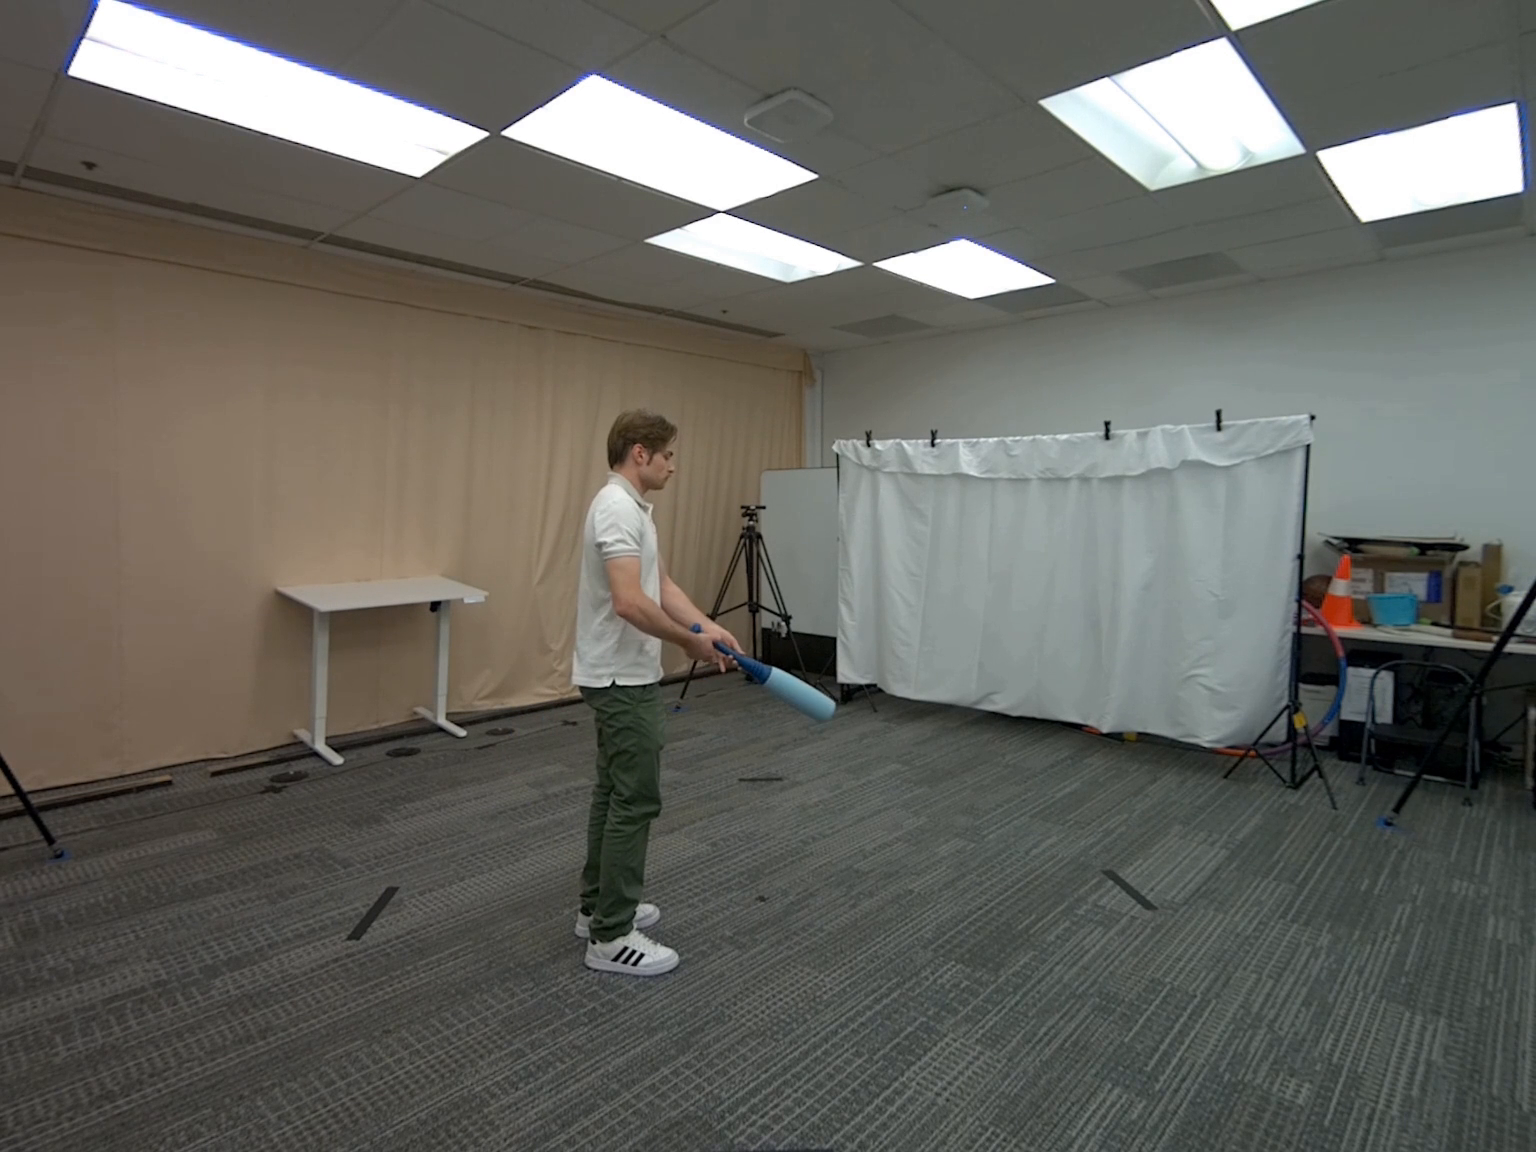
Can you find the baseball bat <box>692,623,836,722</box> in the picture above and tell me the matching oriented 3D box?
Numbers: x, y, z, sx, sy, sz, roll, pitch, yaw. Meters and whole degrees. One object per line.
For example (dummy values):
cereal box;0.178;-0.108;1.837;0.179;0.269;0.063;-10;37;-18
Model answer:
baseball bat;-0.032;0.332;2.716;0.537;0.089;0.090;30;-2;-8
